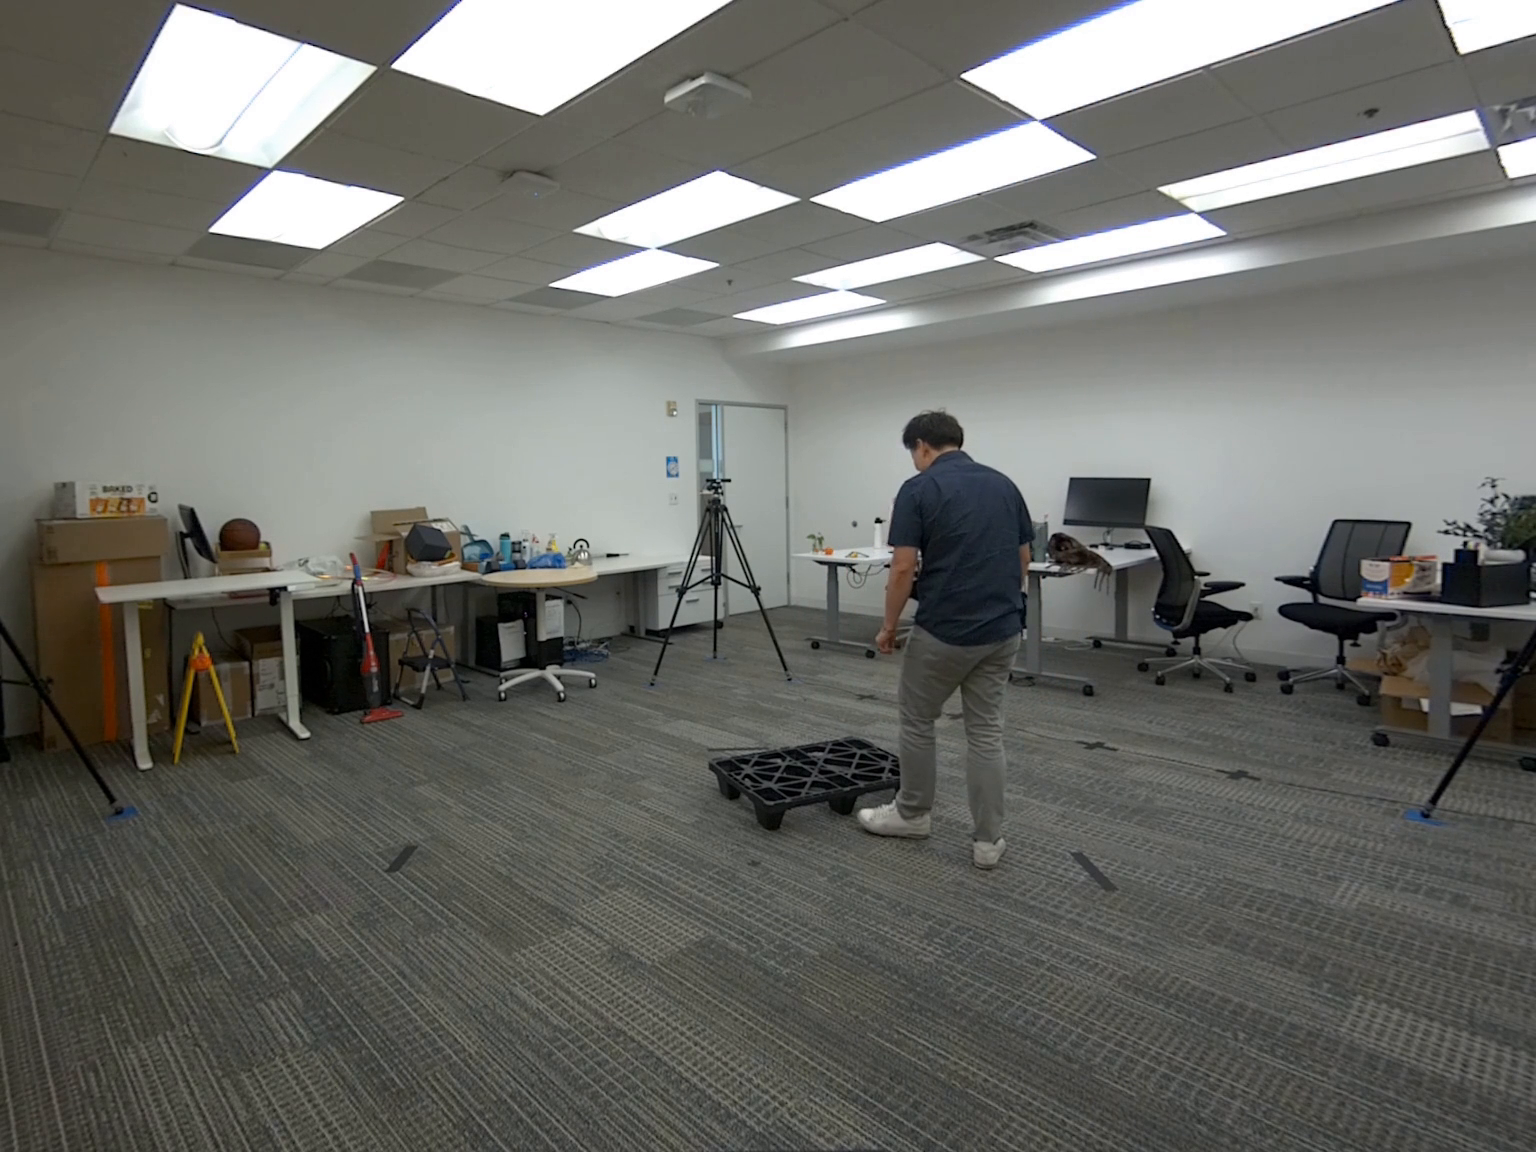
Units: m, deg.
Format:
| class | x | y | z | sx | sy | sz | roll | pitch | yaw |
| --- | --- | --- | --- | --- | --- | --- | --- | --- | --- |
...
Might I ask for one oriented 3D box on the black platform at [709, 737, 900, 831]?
| class | x | y | z | sx | sy | sz | roll | pitch | yaw |
| --- | --- | --- | --- | --- | --- | --- | --- | --- | --- |
| black platform | 0.213 | 0.900 | 3.752 | 0.789 | 0.143 | 0.620 | -4 | 6 | -25 |
